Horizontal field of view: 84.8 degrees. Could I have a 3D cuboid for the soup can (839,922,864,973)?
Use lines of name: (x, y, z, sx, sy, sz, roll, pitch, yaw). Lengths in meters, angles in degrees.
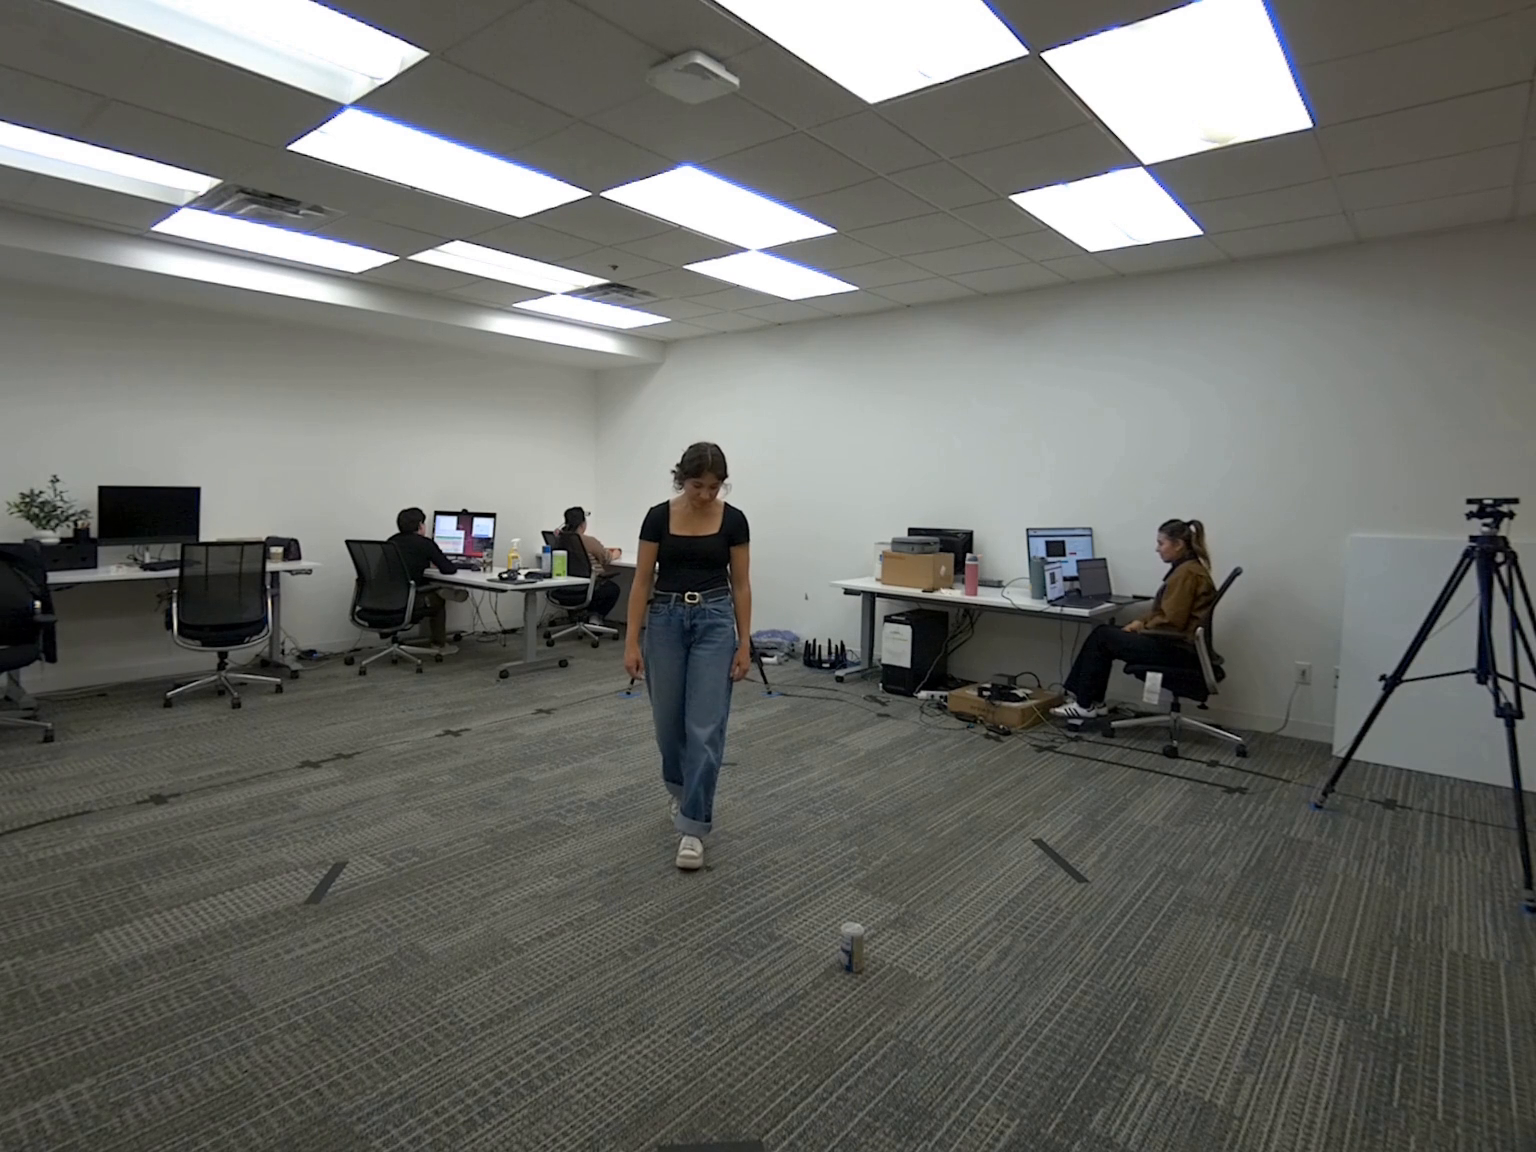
soup can: (0.240, 1.078, 2.476, 0.067, 0.121, 0.067, 1, 4, -2)
